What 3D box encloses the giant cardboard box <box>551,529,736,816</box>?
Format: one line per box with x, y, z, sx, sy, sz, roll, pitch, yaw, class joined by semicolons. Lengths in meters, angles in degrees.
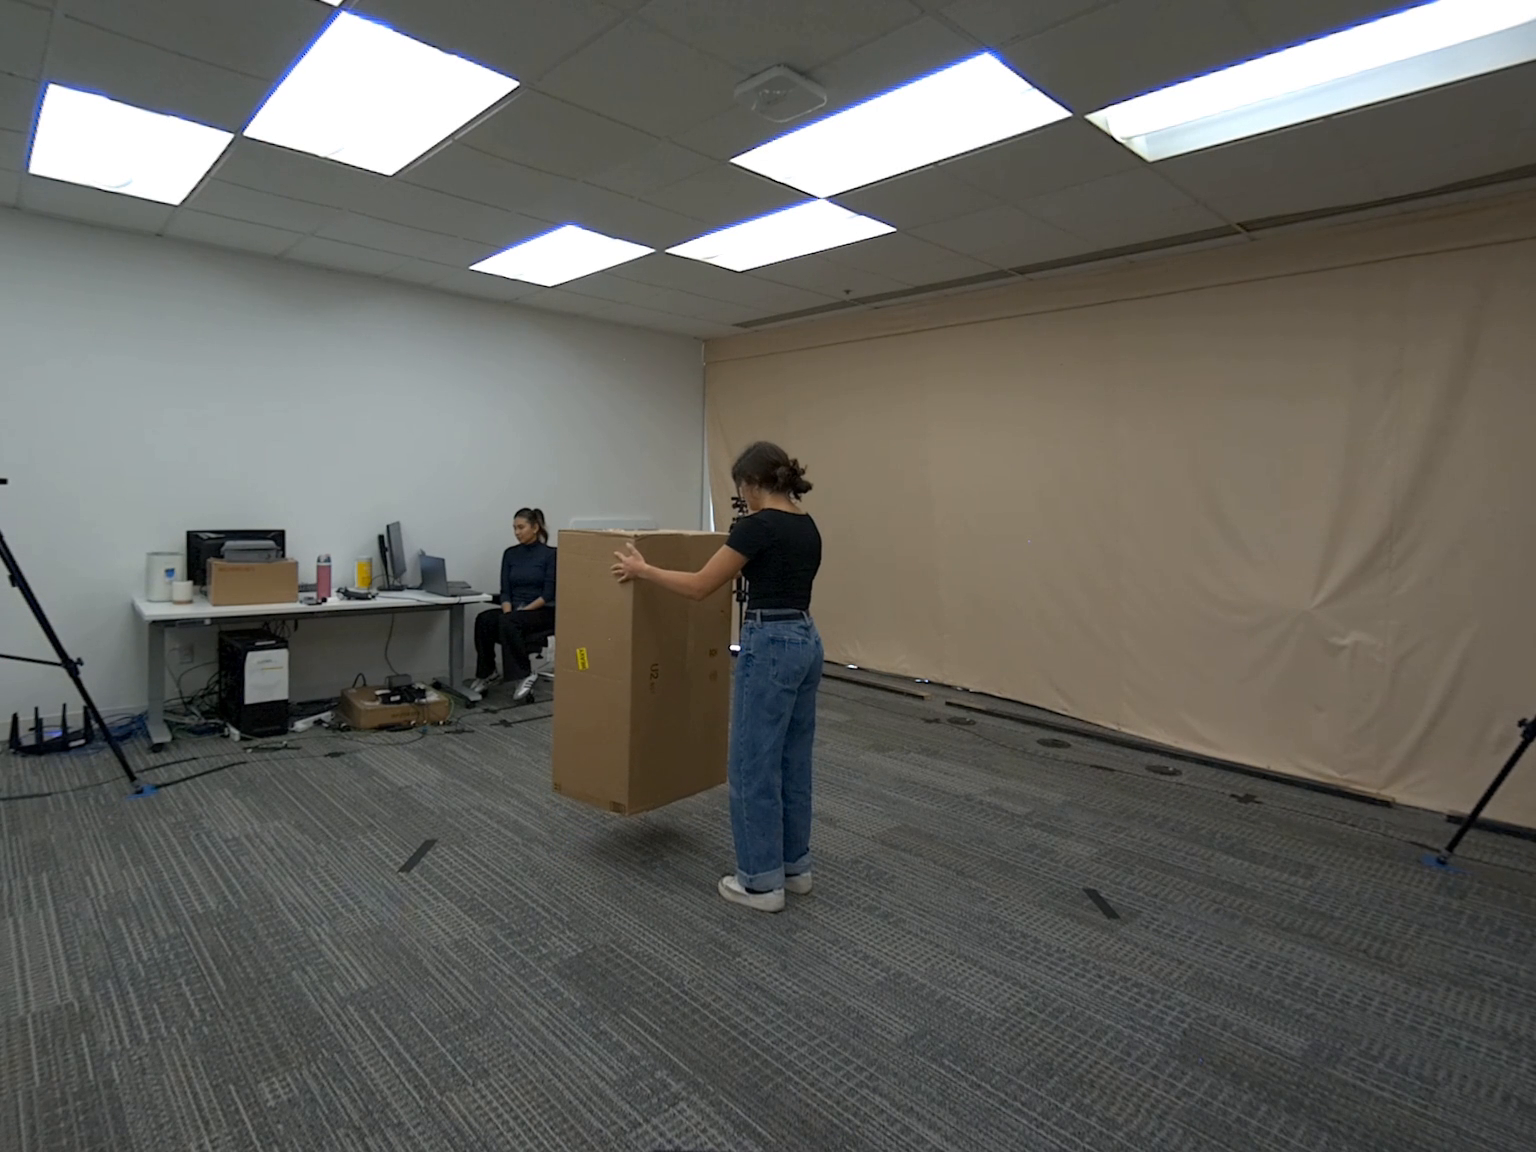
-0.492;0.338;3.338;0.437;1.023;0.564;5;4;37;giant cardboard box
